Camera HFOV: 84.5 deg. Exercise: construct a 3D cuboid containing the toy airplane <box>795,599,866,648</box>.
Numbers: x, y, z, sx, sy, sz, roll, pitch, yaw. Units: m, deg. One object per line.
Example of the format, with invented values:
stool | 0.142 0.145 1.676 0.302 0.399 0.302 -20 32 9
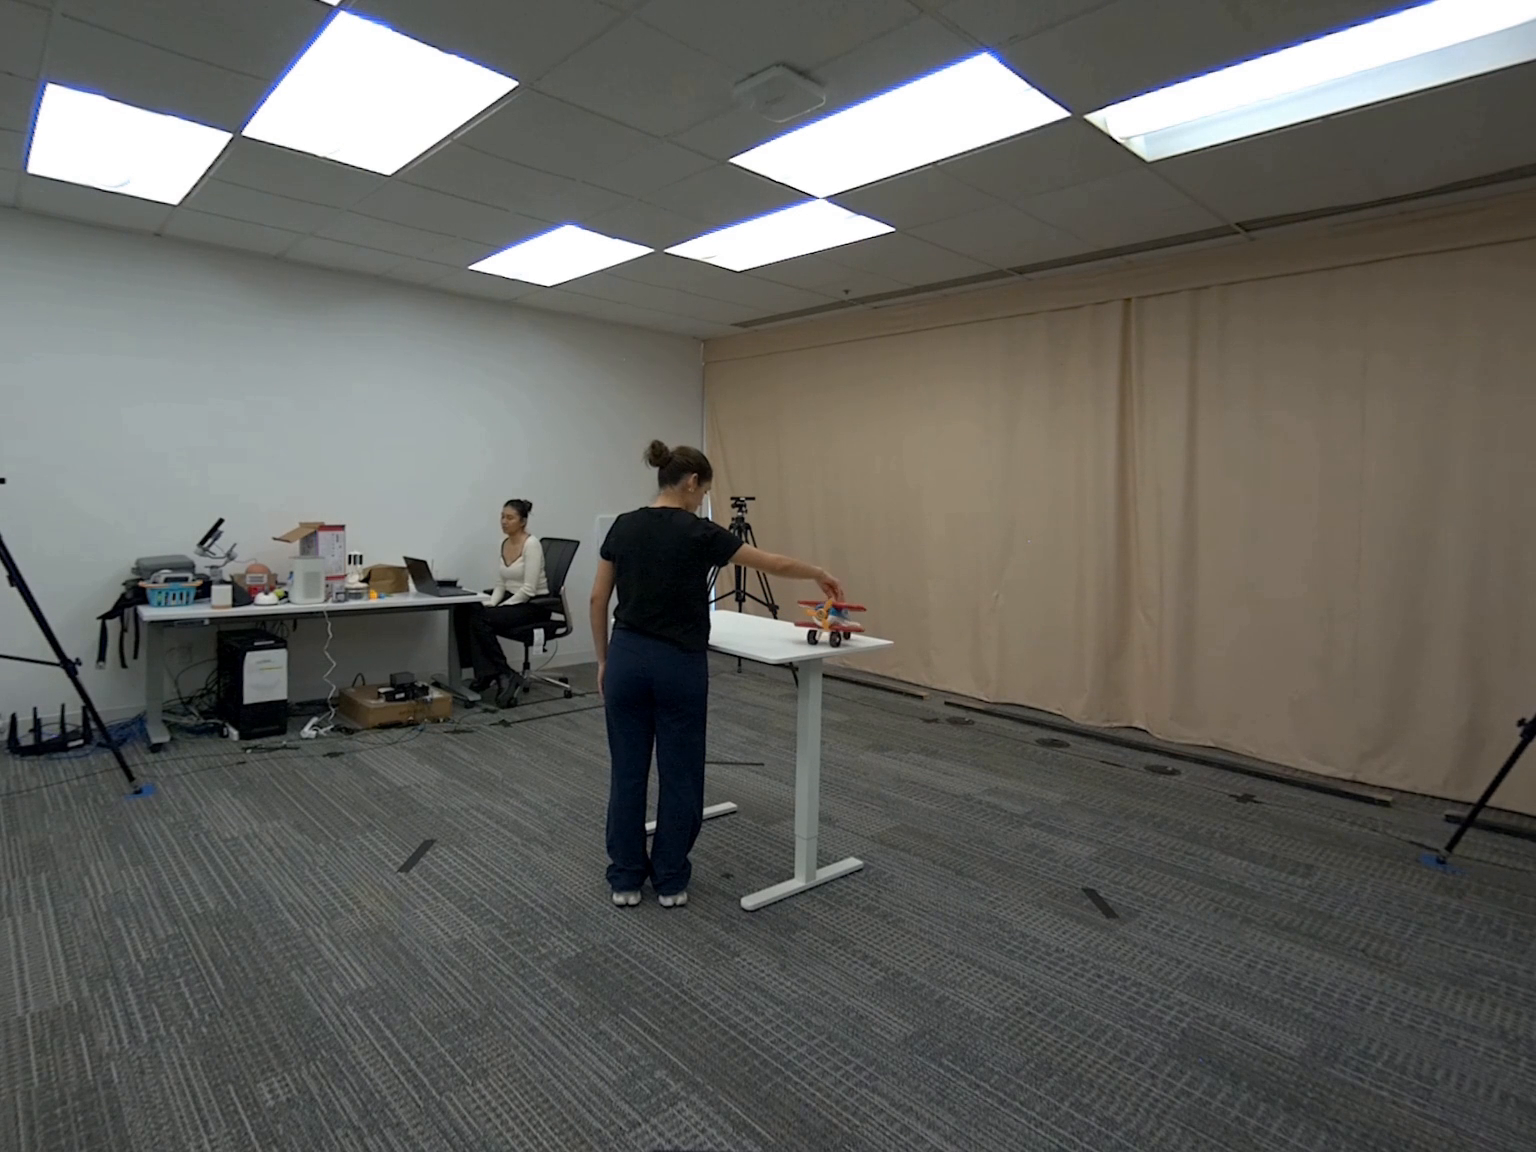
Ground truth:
toy airplane | 0.213 0.164 3.022 0.250 0.156 0.261 0 5 -3
